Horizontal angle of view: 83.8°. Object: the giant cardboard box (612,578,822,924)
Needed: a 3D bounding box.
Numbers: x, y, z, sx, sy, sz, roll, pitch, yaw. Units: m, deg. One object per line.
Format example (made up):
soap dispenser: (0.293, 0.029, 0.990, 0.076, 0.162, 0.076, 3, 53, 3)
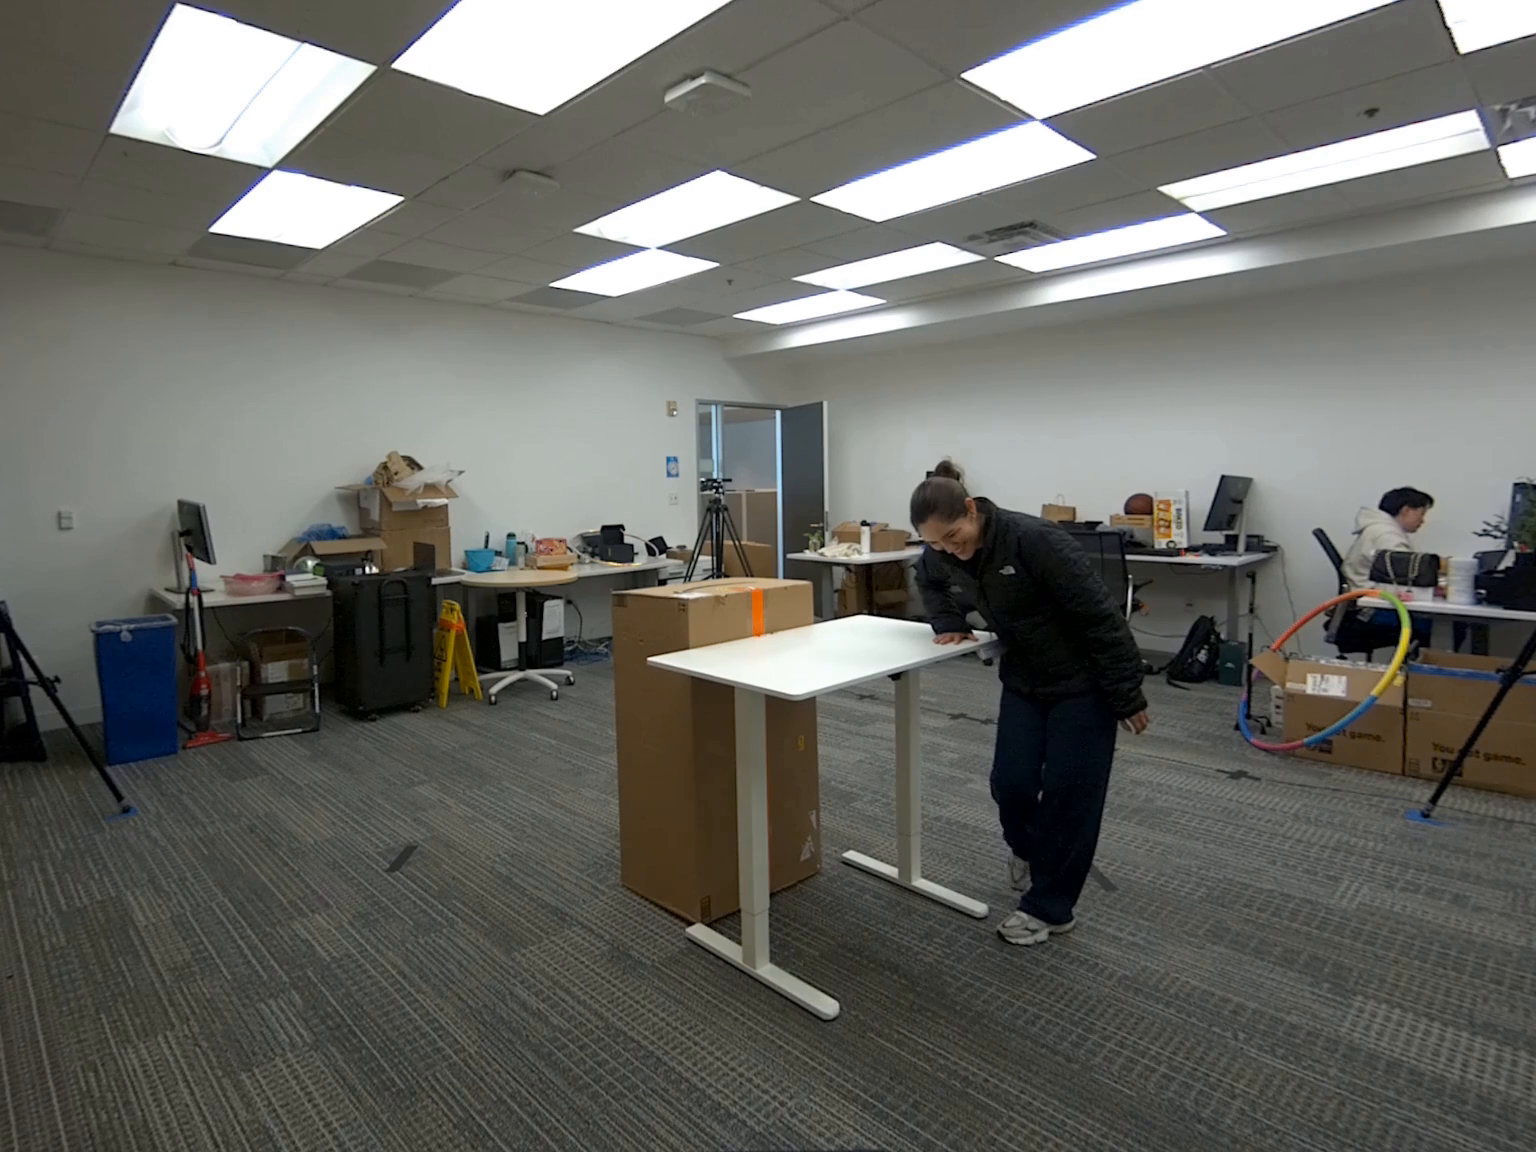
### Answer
giant cardboard box: (-0.175, 0.545, 2.984, 0.568, 1.024, 0.460, -4, 4, -42)
